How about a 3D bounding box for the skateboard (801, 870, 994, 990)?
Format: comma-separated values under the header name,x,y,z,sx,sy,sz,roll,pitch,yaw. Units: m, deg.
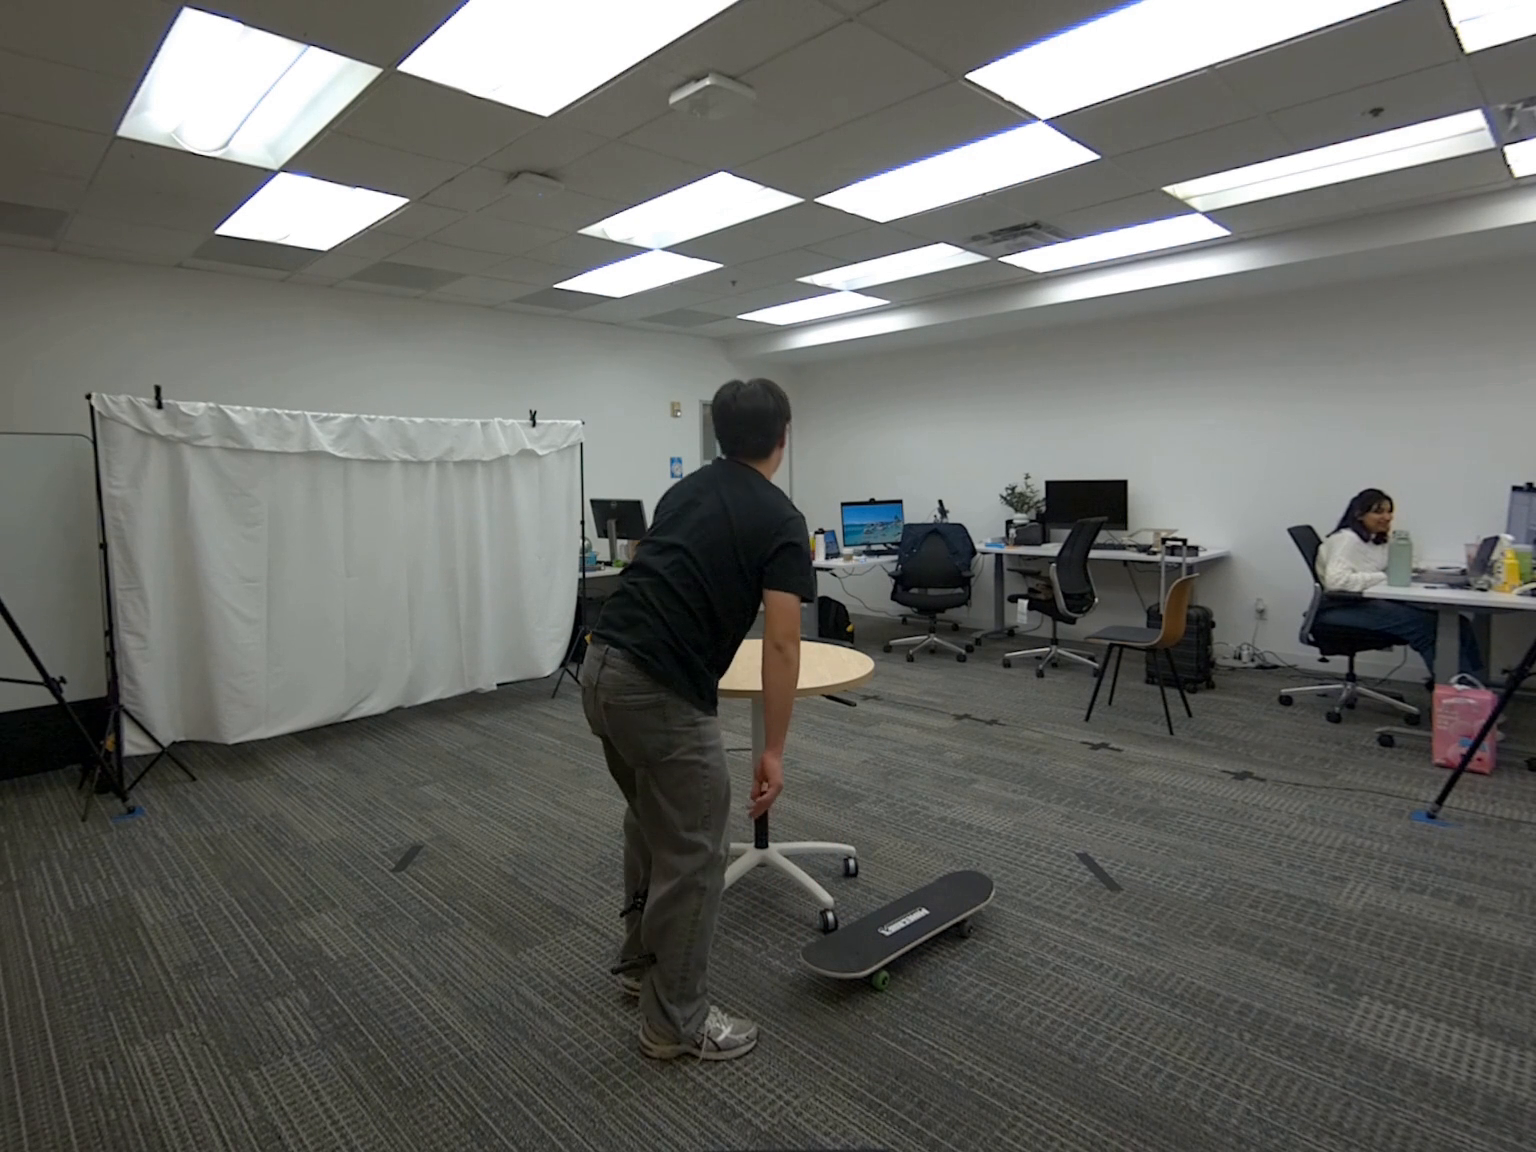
name,x,y,z,sx,sy,sz,roll,pitch,yaw
skateboard,0.410,1.053,2.515,0.765,0.110,0.199,-7,7,-40
